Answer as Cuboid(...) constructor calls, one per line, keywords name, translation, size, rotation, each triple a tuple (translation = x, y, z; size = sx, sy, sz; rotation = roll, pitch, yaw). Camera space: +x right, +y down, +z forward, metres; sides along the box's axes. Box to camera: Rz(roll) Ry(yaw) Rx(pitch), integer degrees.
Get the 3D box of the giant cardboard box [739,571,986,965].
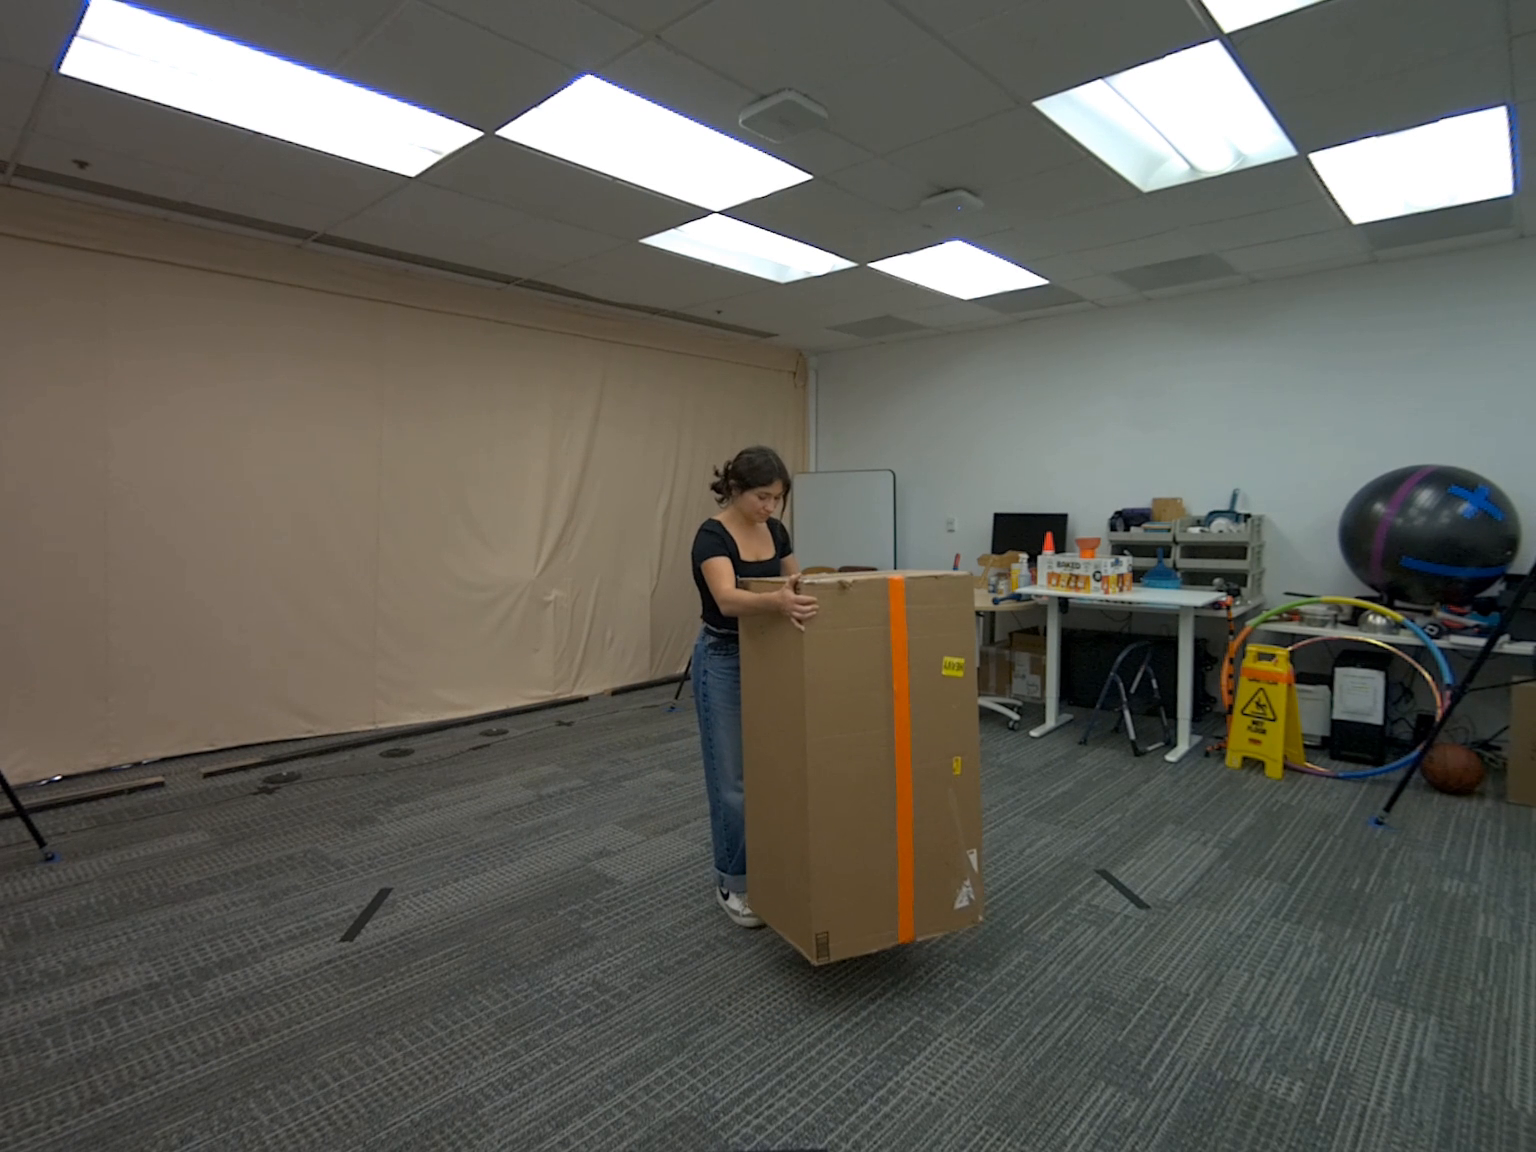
Cuboid(name="giant cardboard box", translation=(0.278, 0.520, 2.528), size=(0.564, 1.026, 0.436), rotation=(-2, 0, -25))
